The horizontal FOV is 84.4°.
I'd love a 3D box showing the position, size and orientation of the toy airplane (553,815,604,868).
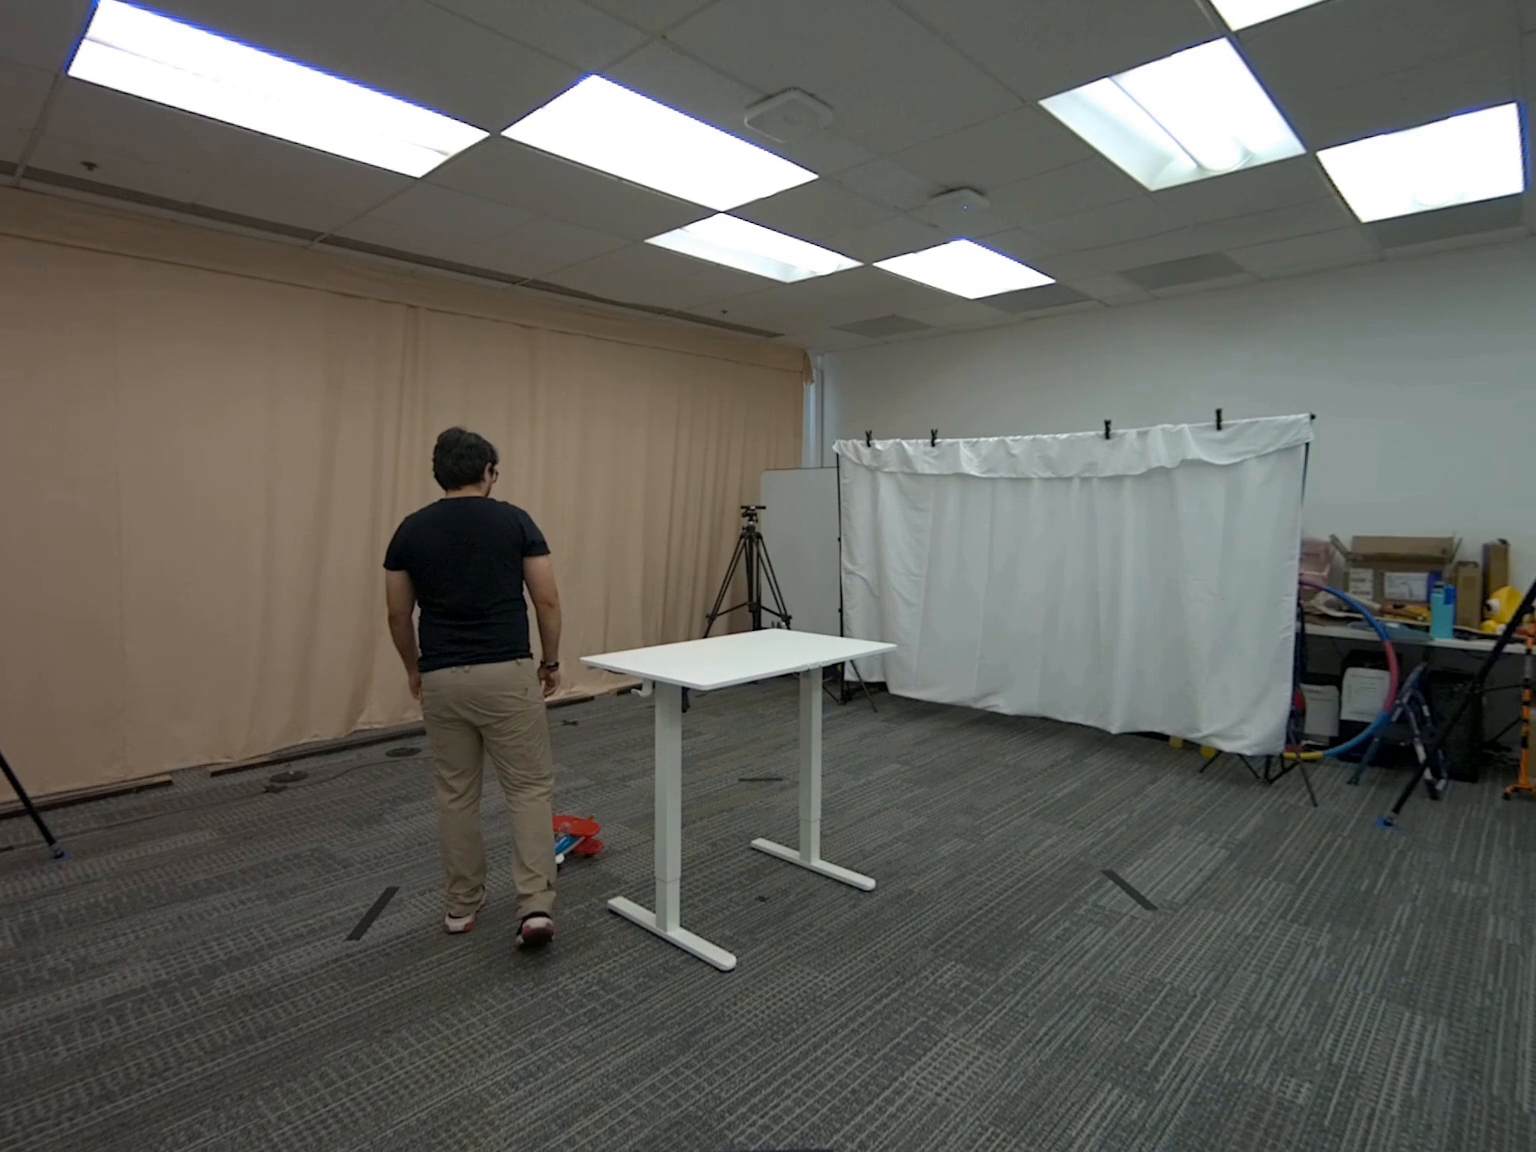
[{"bbox_3d":[-0.767,1.052,3.302,0.251,0.156,0.260,-1,3,-2],"label":"toy airplane"}]
